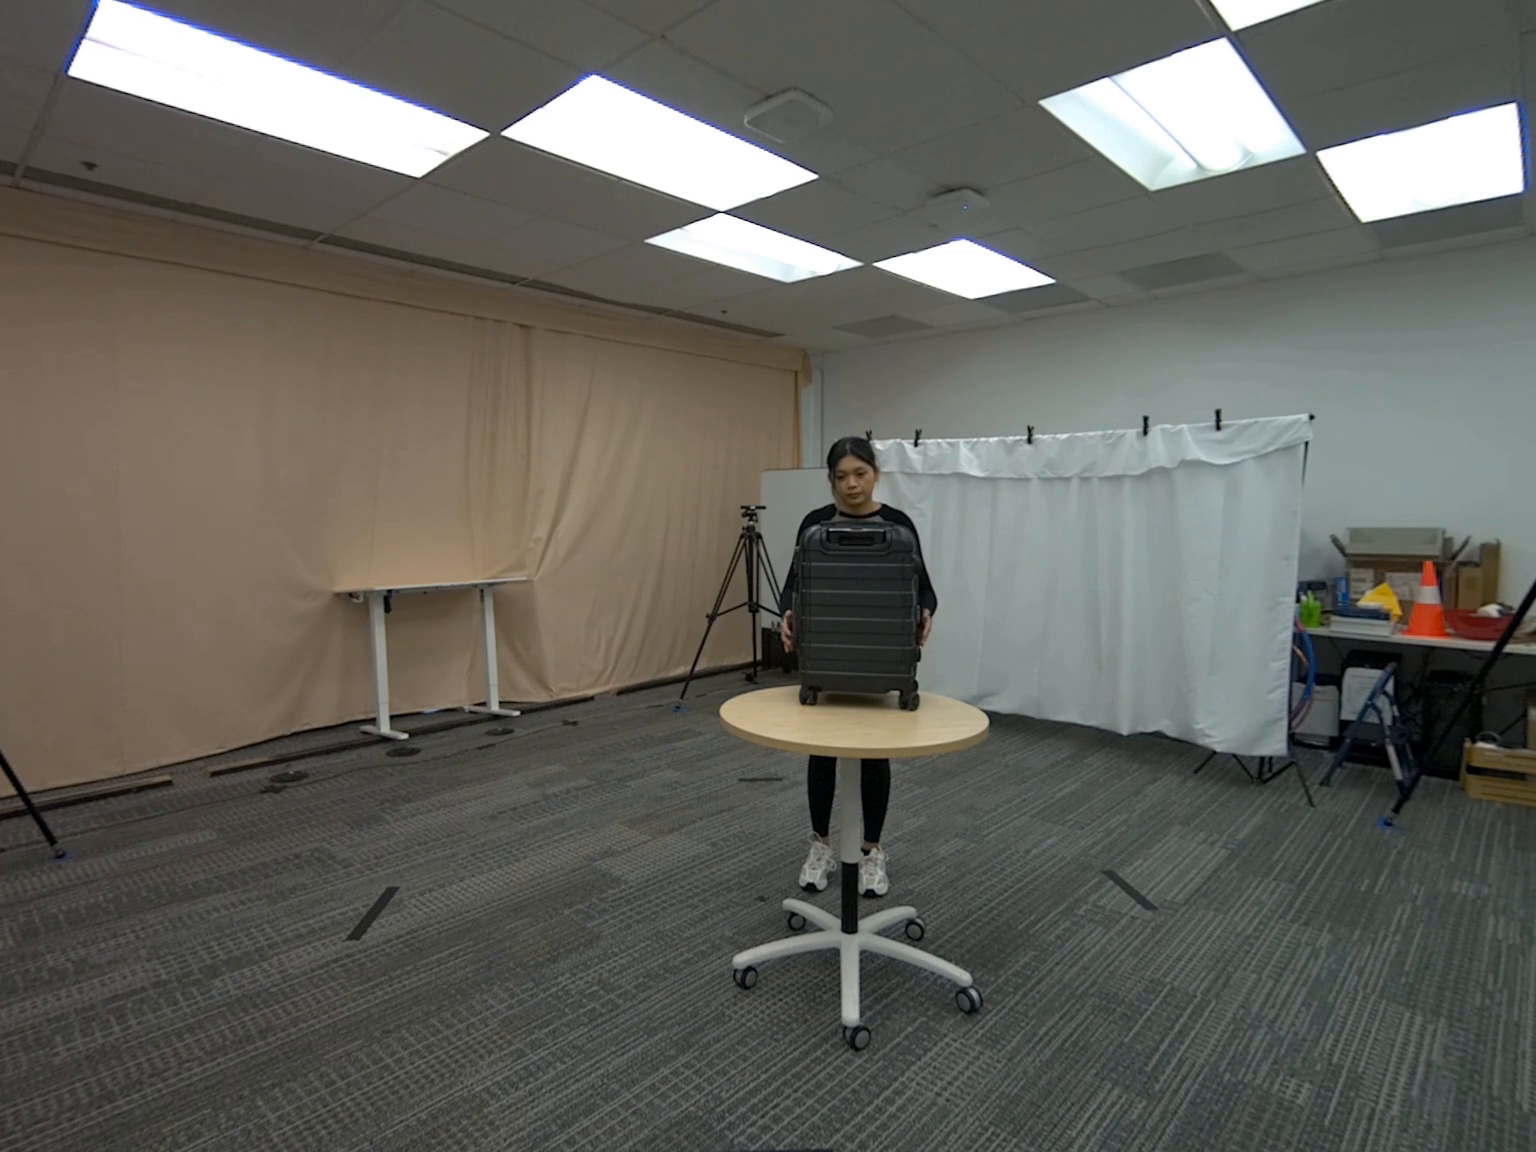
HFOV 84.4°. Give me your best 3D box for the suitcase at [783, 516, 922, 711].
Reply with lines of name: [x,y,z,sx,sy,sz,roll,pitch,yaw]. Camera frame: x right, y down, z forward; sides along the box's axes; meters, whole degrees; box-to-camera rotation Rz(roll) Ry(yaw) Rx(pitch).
suitcase: [0.272,0.107,2.586,0.380,0.548,0.245,0,3,12]
